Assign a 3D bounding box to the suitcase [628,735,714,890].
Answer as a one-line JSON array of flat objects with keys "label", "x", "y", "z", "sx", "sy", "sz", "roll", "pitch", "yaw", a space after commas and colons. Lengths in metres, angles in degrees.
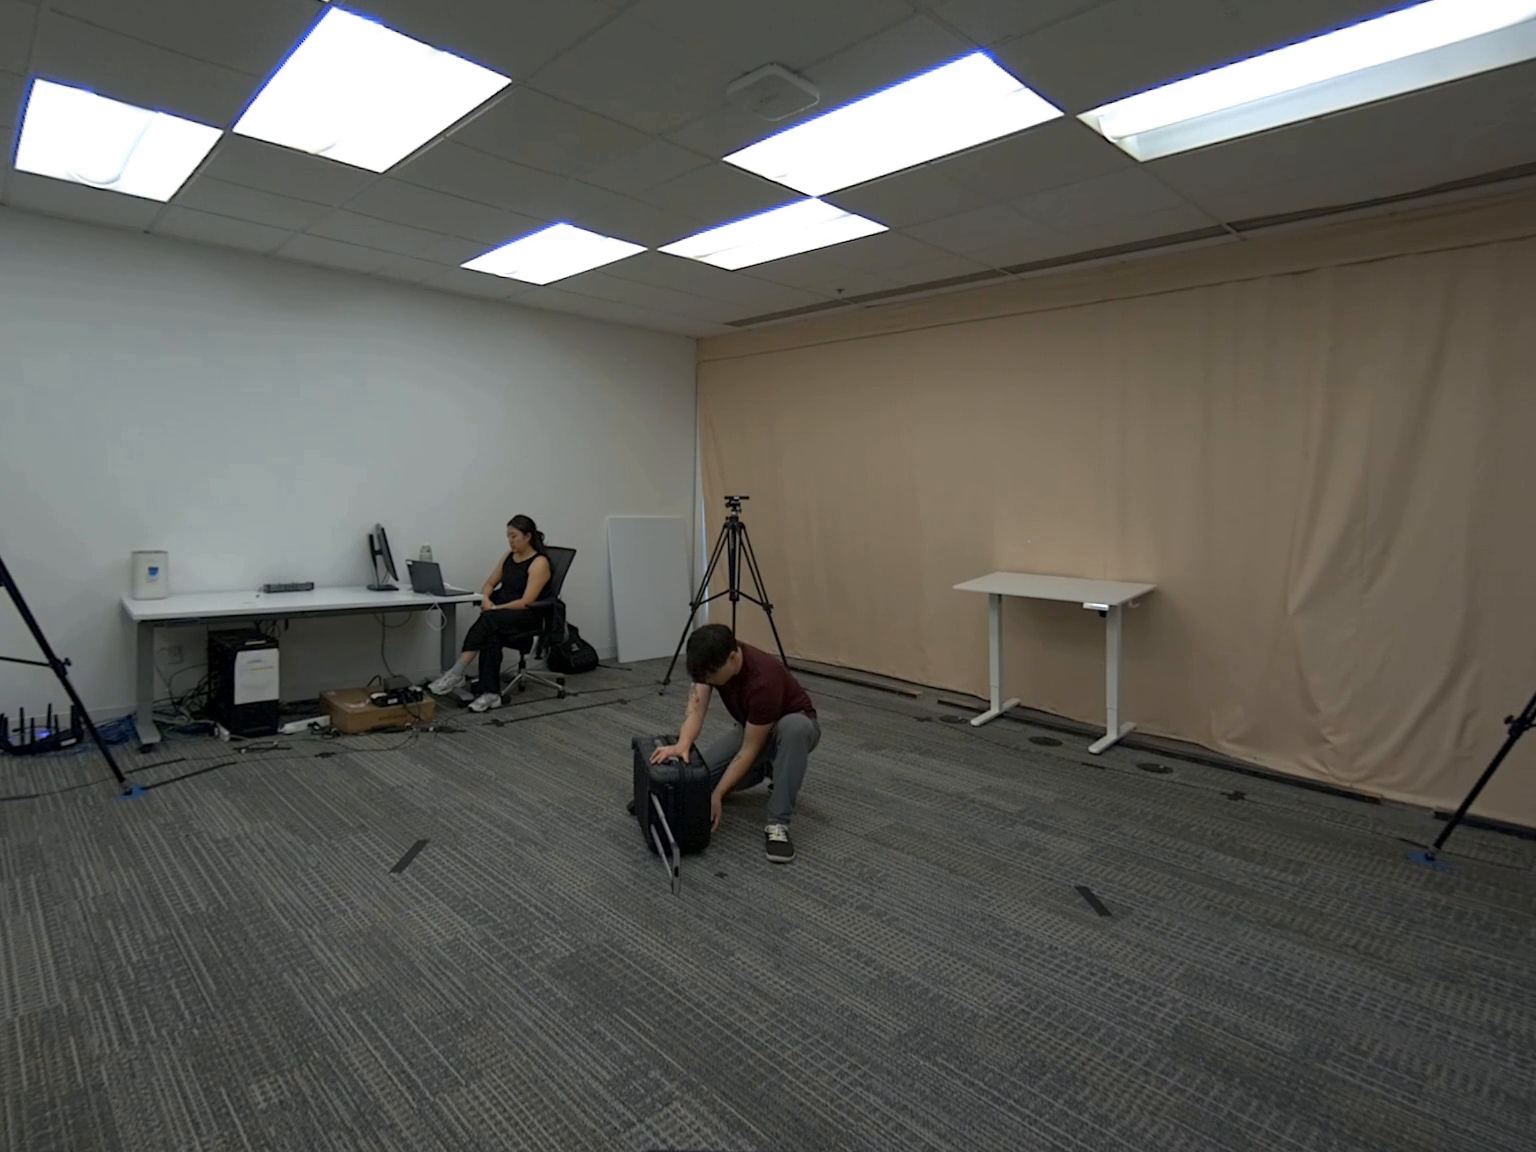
[{"label": "suitcase", "x": -0.346, "y": 0.895, "z": 3.237, "sx": 0.253, "sy": 0.383, "sz": 0.995, "roll": 0, "pitch": 5, "yaw": -18}]
